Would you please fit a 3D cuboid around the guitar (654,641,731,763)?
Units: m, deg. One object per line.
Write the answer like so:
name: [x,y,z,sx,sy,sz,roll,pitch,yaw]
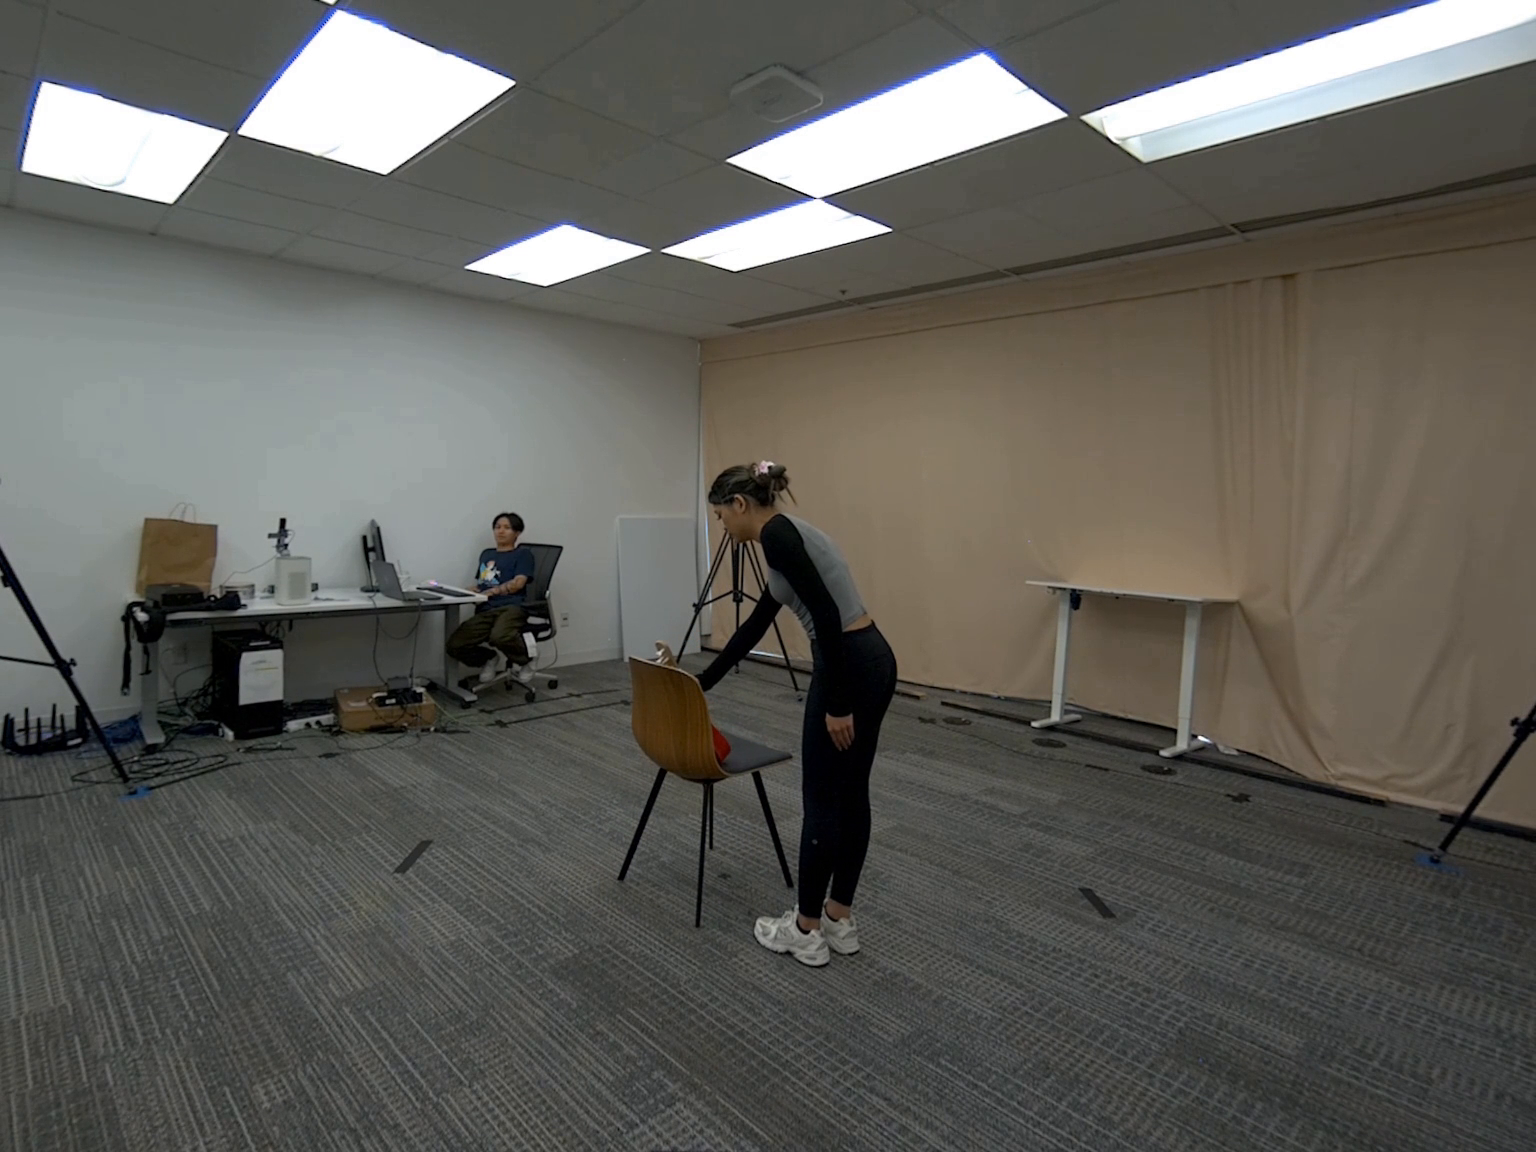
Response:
guitar: [-0.304,0.429,2.870,0.070,0.489,0.197,-40,21,-32]
